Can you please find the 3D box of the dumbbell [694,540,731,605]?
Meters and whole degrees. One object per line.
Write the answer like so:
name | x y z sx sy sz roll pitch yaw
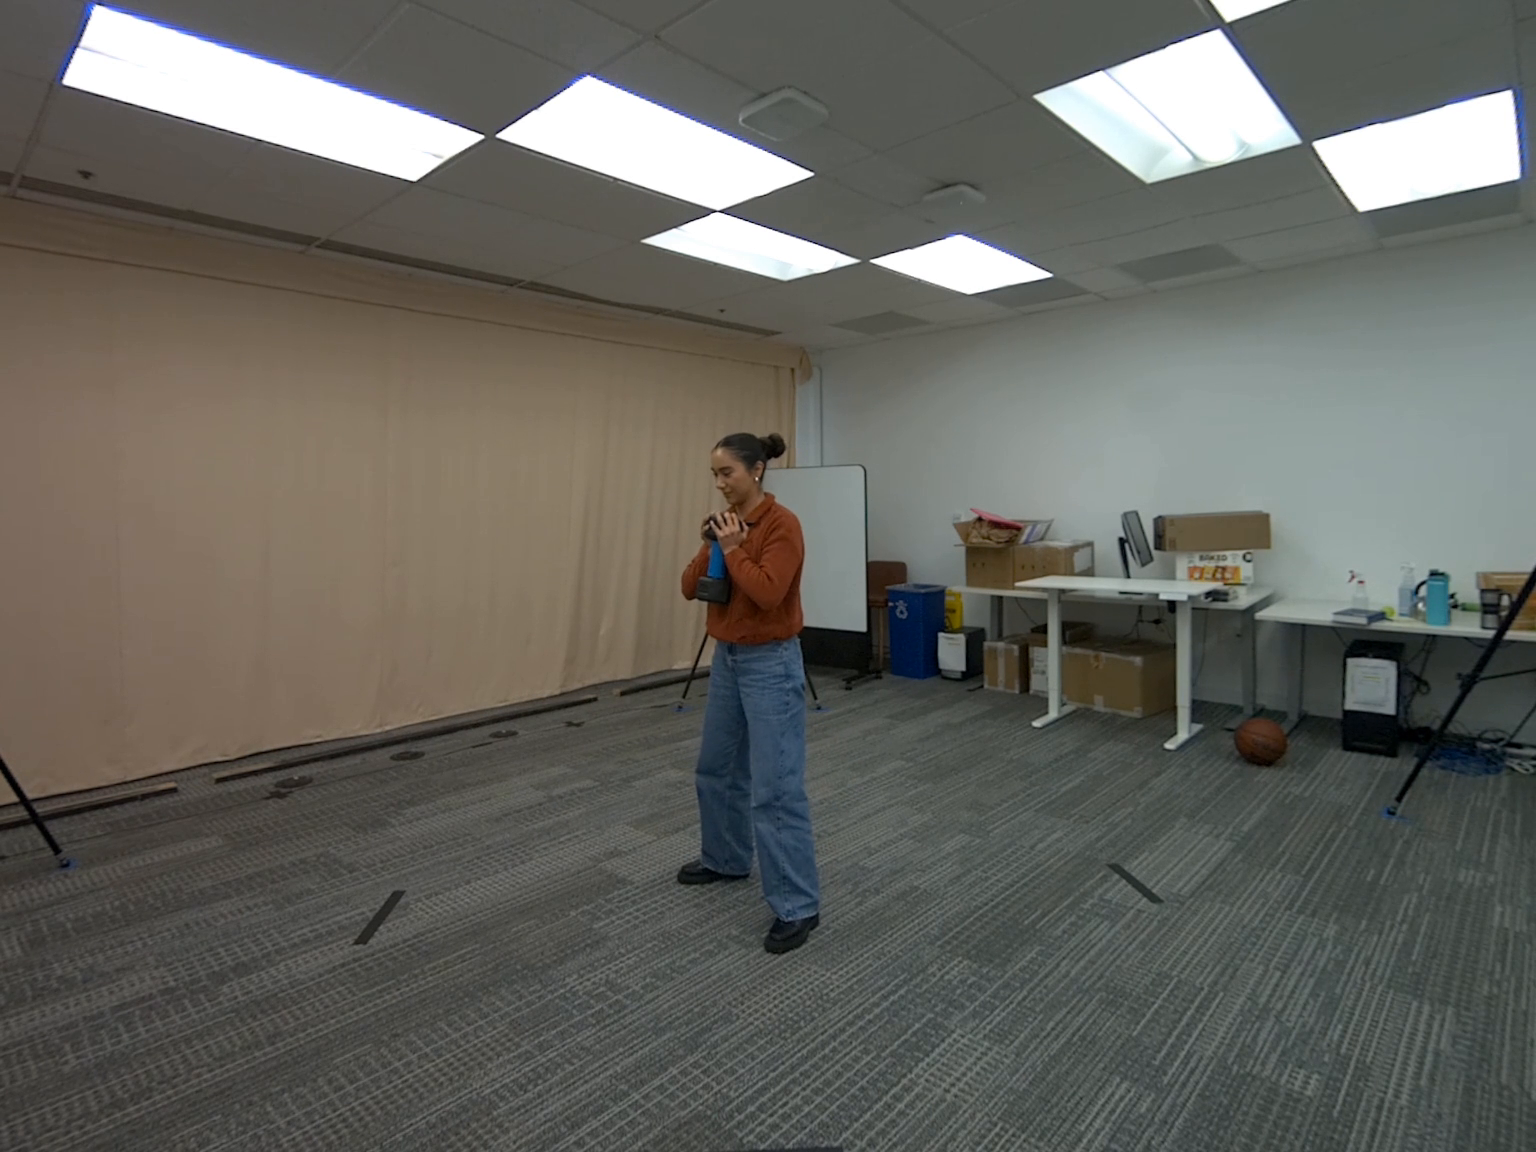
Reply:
dumbbell | -0.165 -0.050 2.835 0.127 0.294 0.105 5 -3 38
